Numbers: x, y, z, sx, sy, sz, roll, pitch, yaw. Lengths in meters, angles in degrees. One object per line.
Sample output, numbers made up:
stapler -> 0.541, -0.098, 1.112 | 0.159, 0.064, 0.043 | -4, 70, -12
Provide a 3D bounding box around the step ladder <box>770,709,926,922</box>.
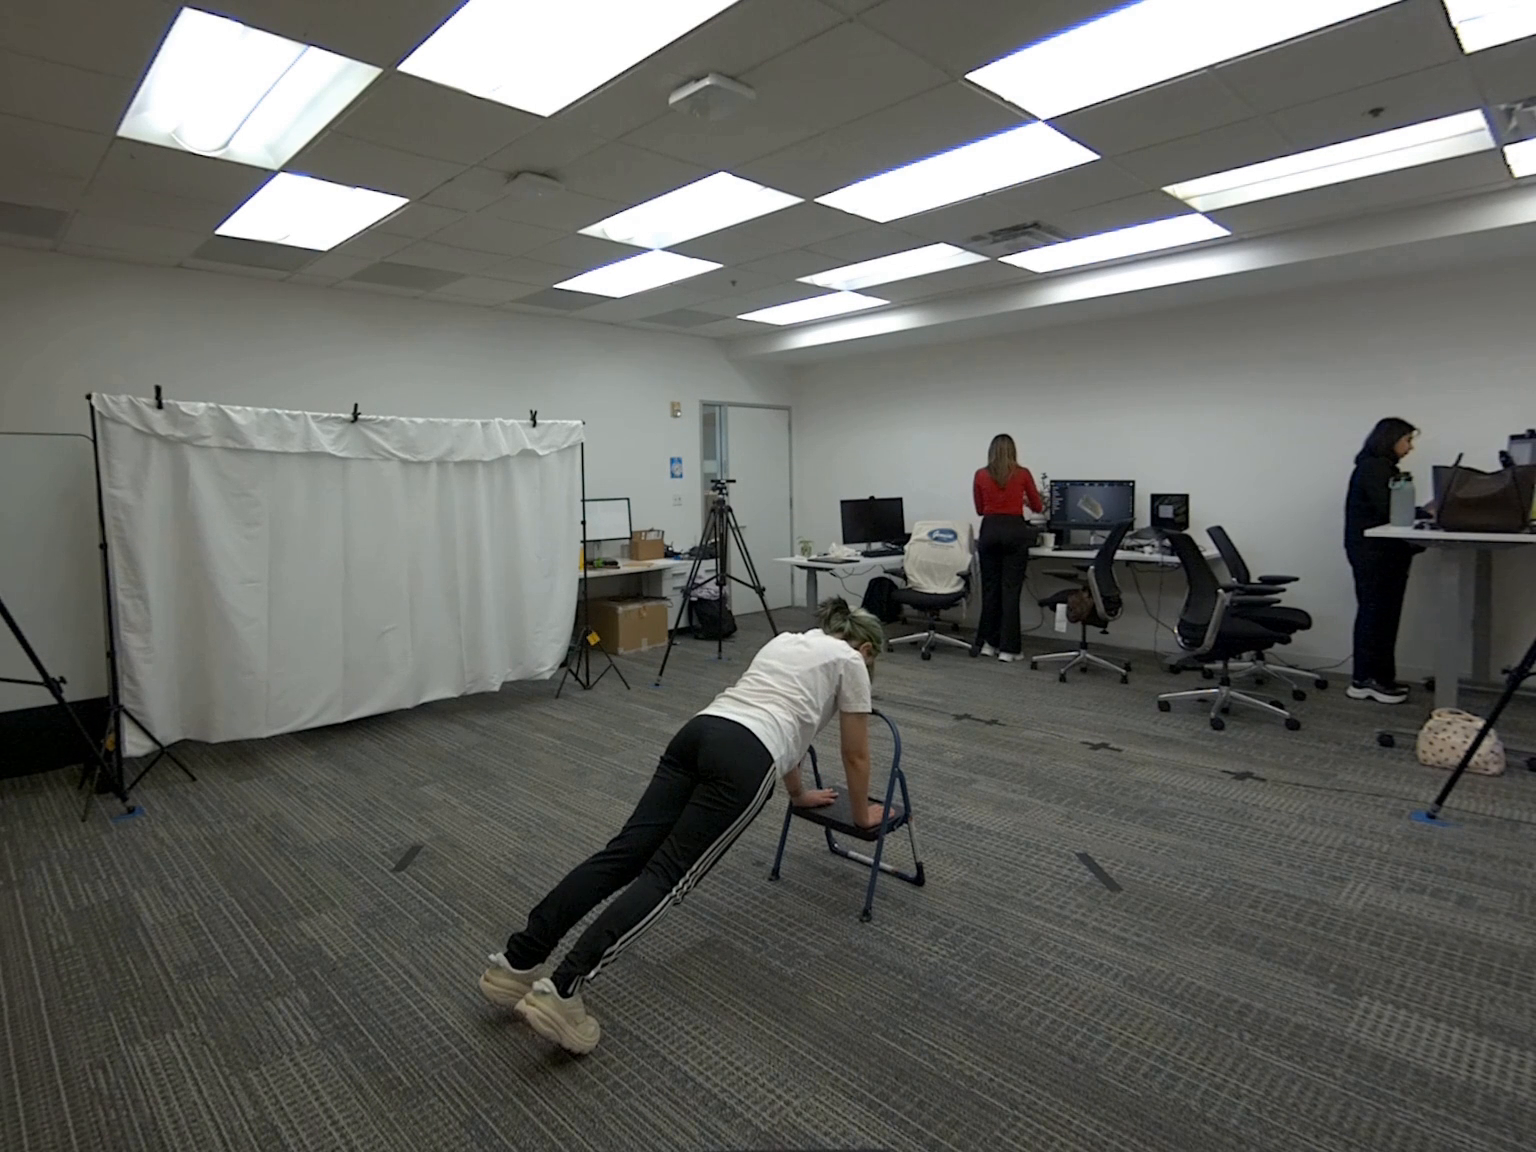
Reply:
step ladder -> 0.272, 0.758, 2.939 | 0.444, 0.604, 0.340 | 4, 6, 45
